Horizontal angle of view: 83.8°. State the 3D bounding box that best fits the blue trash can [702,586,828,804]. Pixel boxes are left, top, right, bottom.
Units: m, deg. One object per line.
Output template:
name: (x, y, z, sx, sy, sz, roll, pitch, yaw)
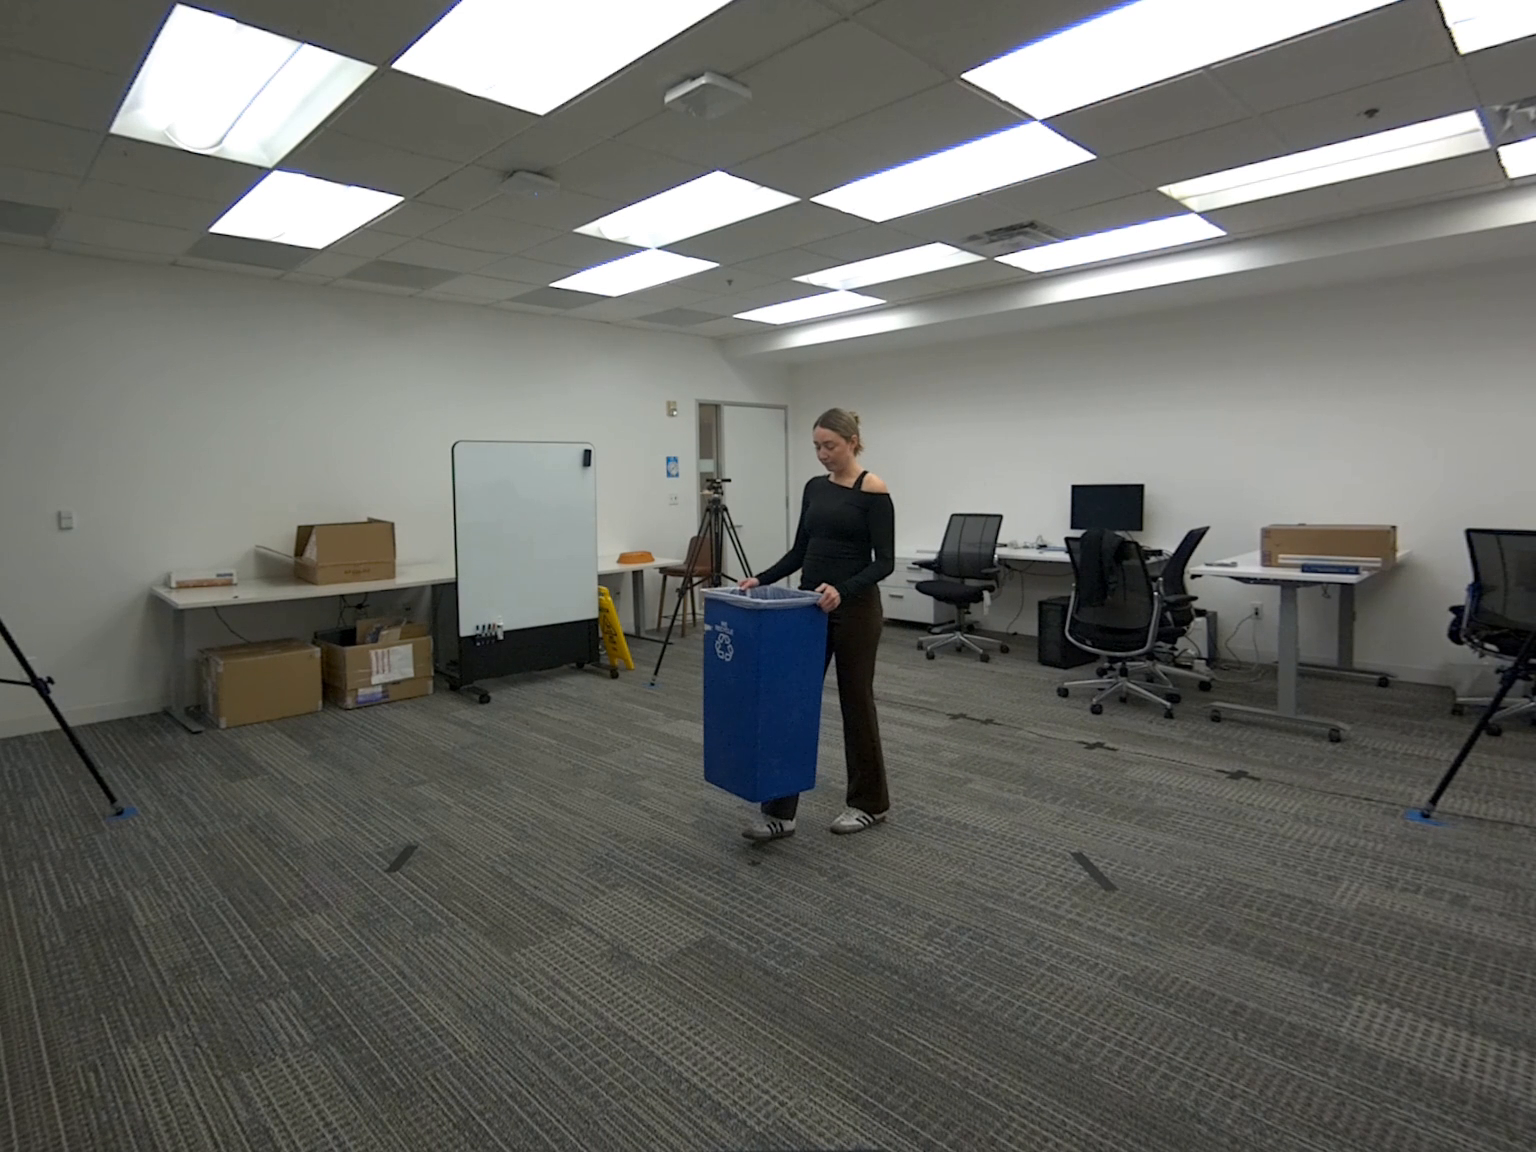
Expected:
blue trash can: (-0.014, 0.417, 3.140, 0.368, 0.712, 0.385, -1, 4, -39)
